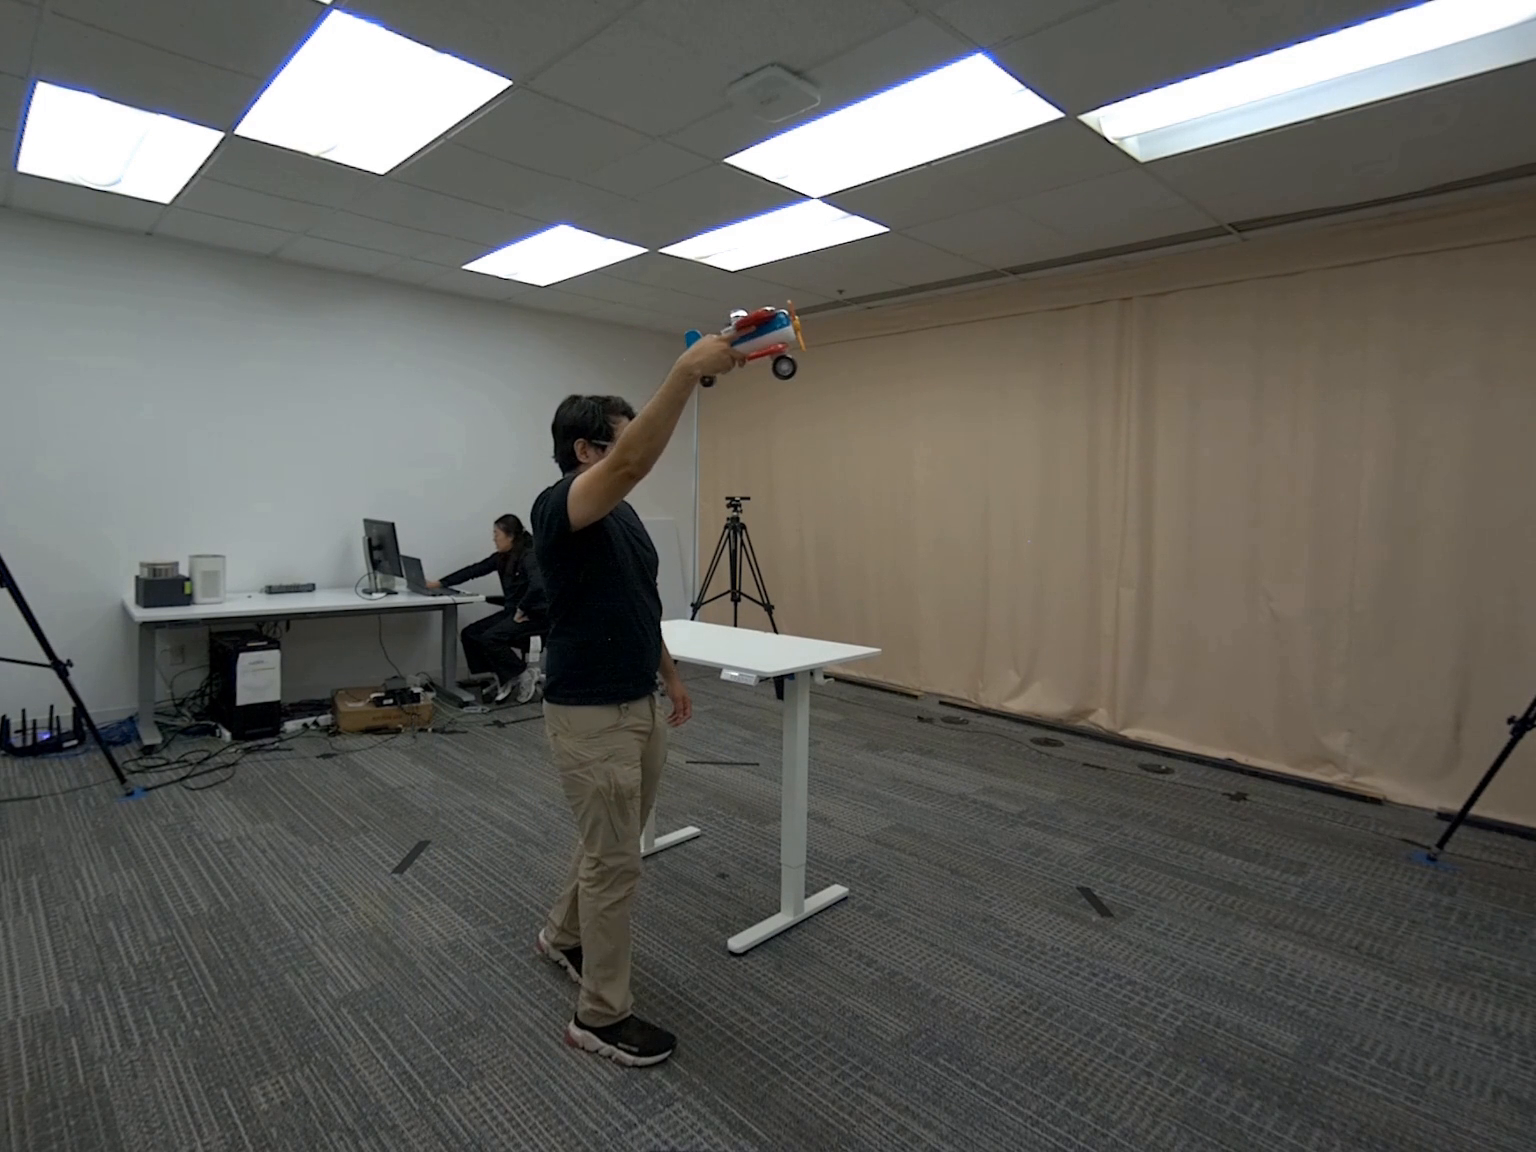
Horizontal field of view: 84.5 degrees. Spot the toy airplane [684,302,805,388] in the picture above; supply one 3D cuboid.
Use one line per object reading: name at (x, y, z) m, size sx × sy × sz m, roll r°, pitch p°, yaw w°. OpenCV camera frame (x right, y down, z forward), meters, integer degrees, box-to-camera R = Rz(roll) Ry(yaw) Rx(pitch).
toy airplane at (-0.056, -0.505, 1.852) m, size 0.256 × 0.155 × 0.257 m, roll -11°, pitch 14°, yaw -22°
